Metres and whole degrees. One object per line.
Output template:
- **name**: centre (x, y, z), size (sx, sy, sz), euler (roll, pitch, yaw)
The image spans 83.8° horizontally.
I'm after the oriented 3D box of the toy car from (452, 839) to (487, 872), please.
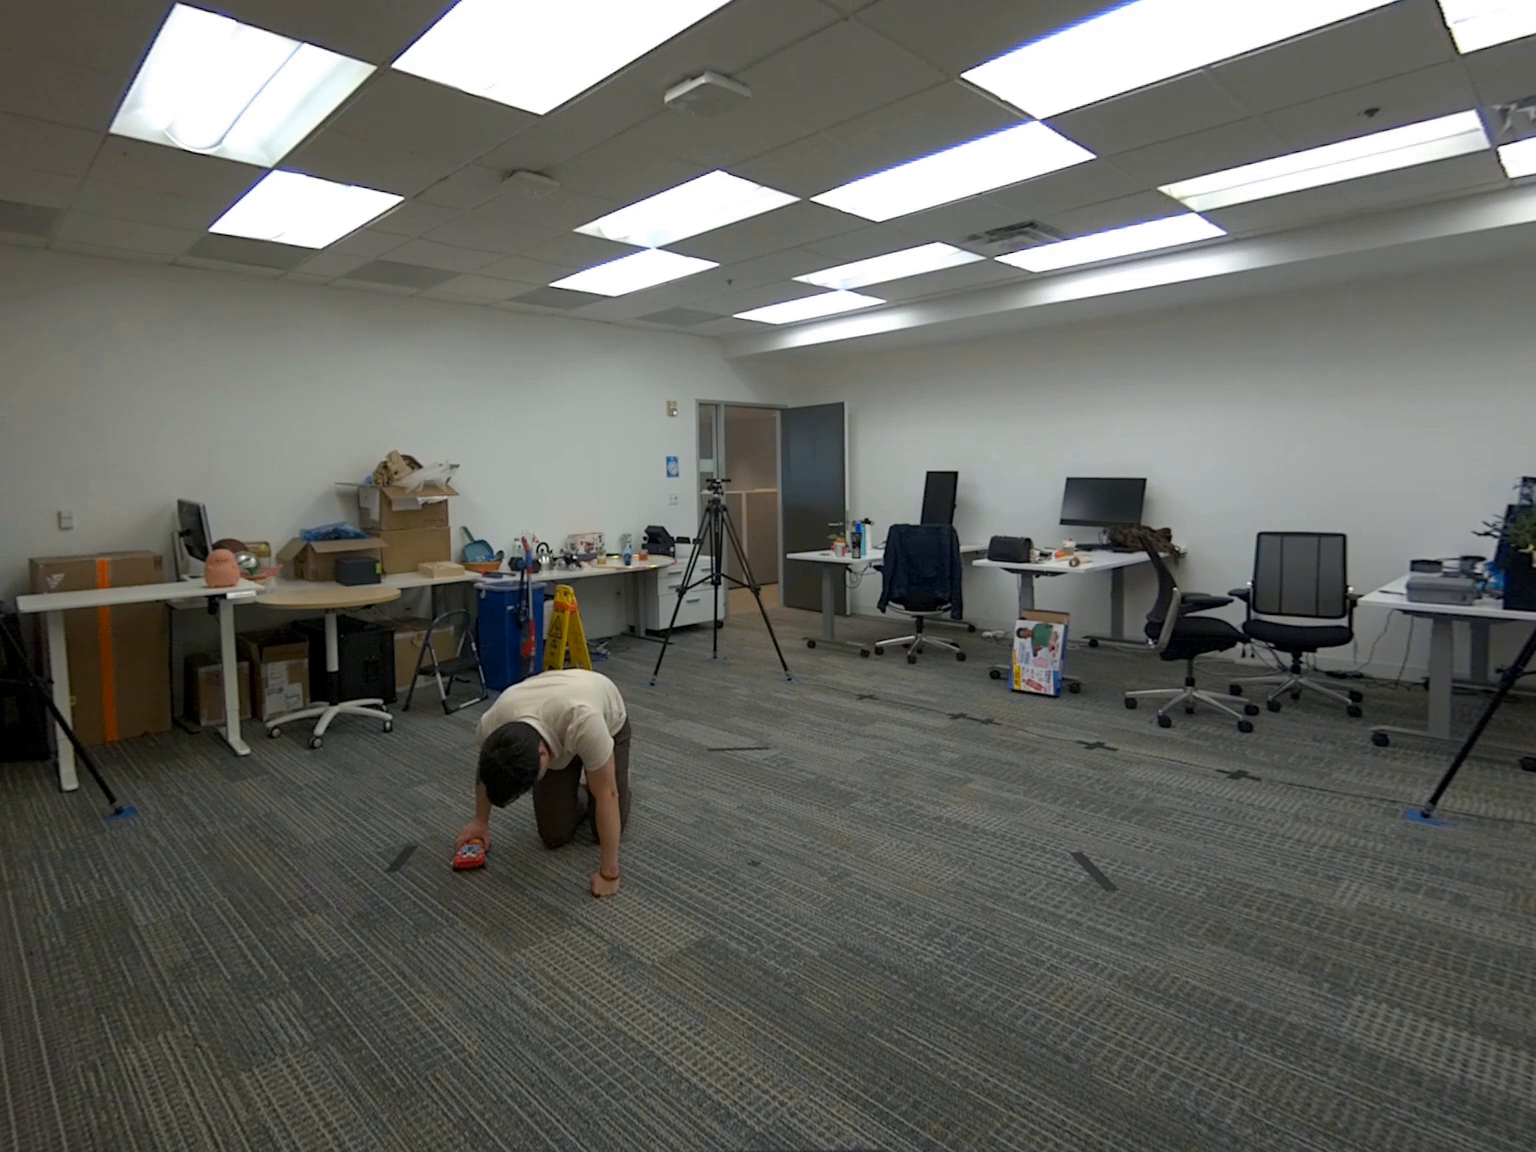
- **toy car**: centre (-1.109, 1.029, 3.196), size (0.129, 0.082, 0.260), euler (-2, 15, -12)
